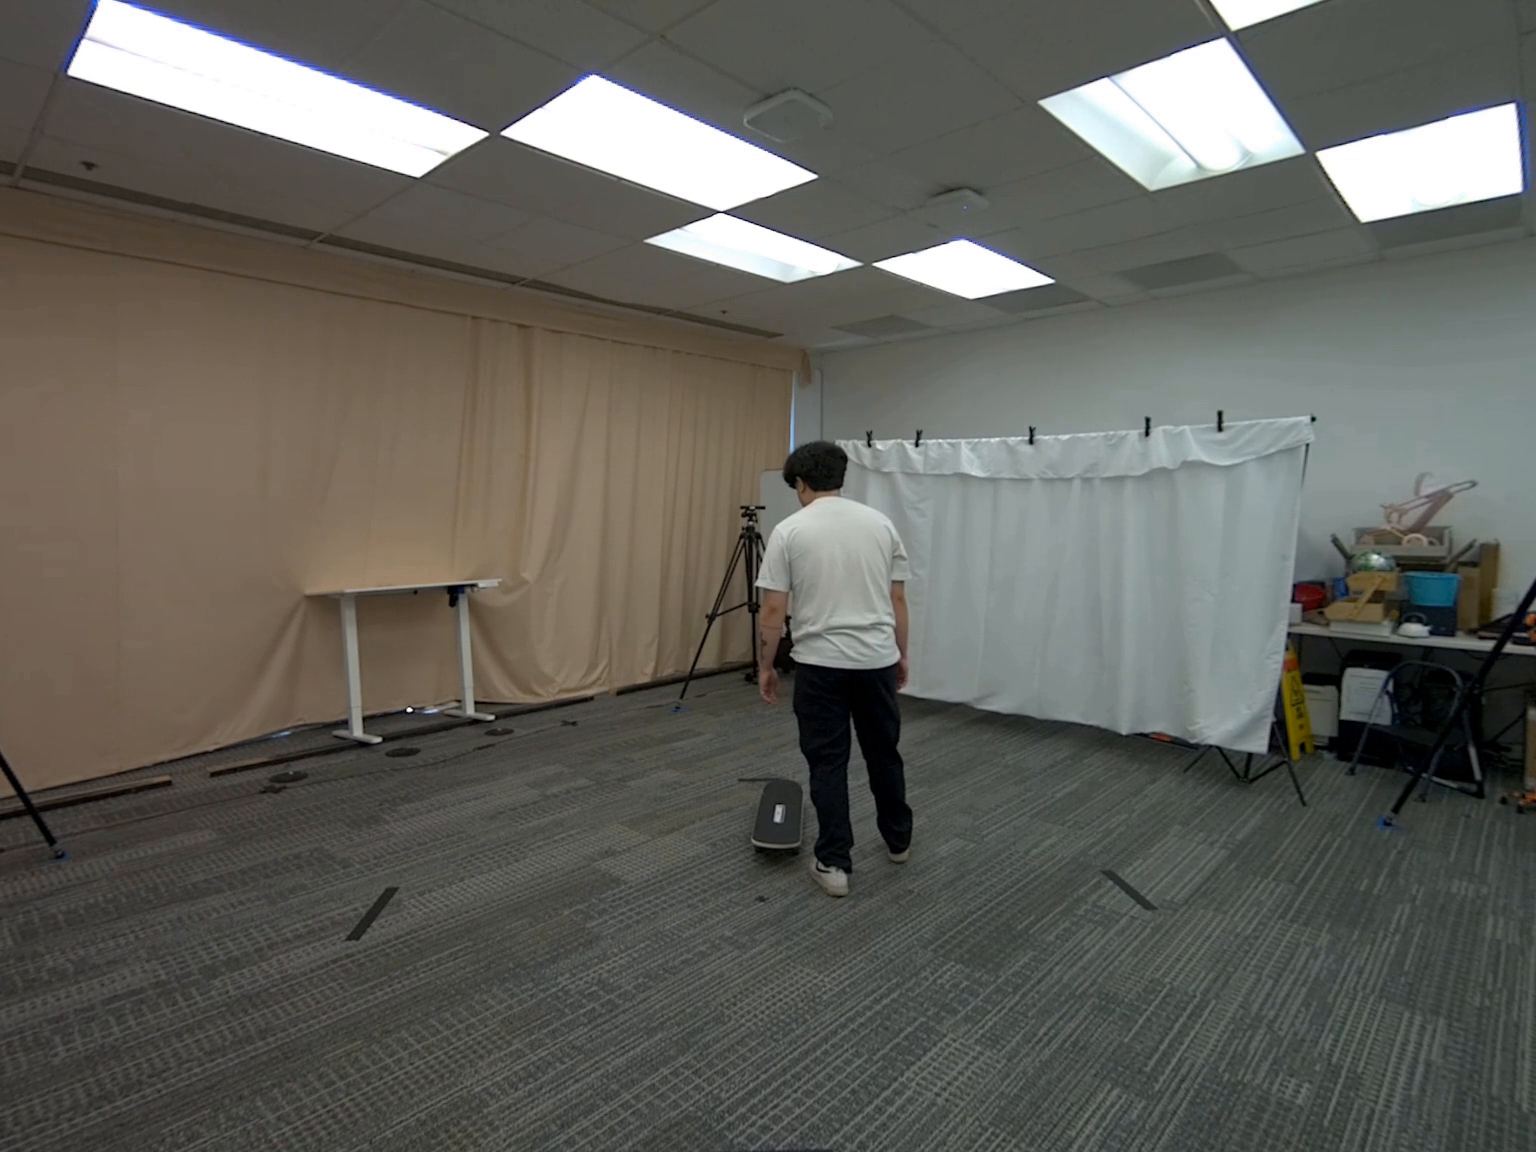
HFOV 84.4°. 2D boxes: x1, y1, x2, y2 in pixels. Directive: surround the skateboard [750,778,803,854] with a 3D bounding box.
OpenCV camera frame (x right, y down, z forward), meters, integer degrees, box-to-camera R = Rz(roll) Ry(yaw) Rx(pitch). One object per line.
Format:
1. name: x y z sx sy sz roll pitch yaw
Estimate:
1. skateboard: 0.052 1.039 3.573 0.195 0.110 0.782 0 5 4
